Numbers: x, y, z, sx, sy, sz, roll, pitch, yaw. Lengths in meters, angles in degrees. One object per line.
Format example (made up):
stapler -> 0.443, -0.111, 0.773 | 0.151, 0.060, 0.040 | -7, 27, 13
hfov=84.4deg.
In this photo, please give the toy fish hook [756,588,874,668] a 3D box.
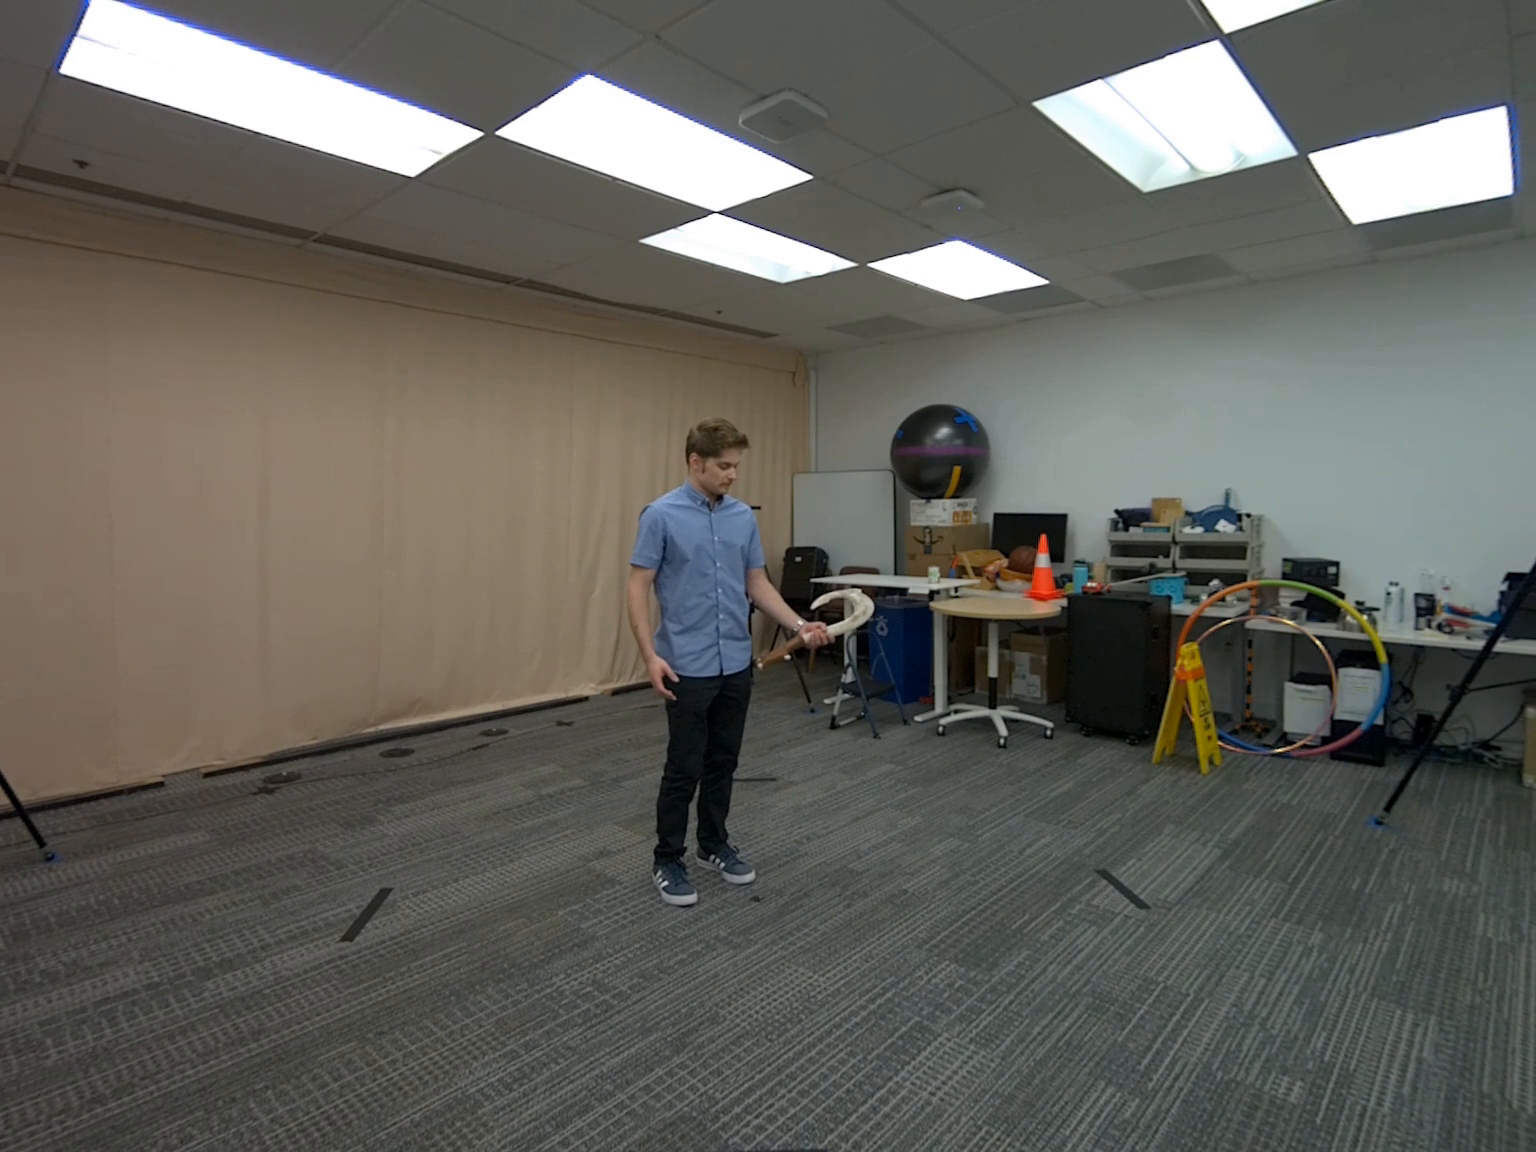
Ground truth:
toy fish hook -> 0.154, 0.195, 3.106 | 0.503, 0.047, 0.232 | -26, 35, -9
